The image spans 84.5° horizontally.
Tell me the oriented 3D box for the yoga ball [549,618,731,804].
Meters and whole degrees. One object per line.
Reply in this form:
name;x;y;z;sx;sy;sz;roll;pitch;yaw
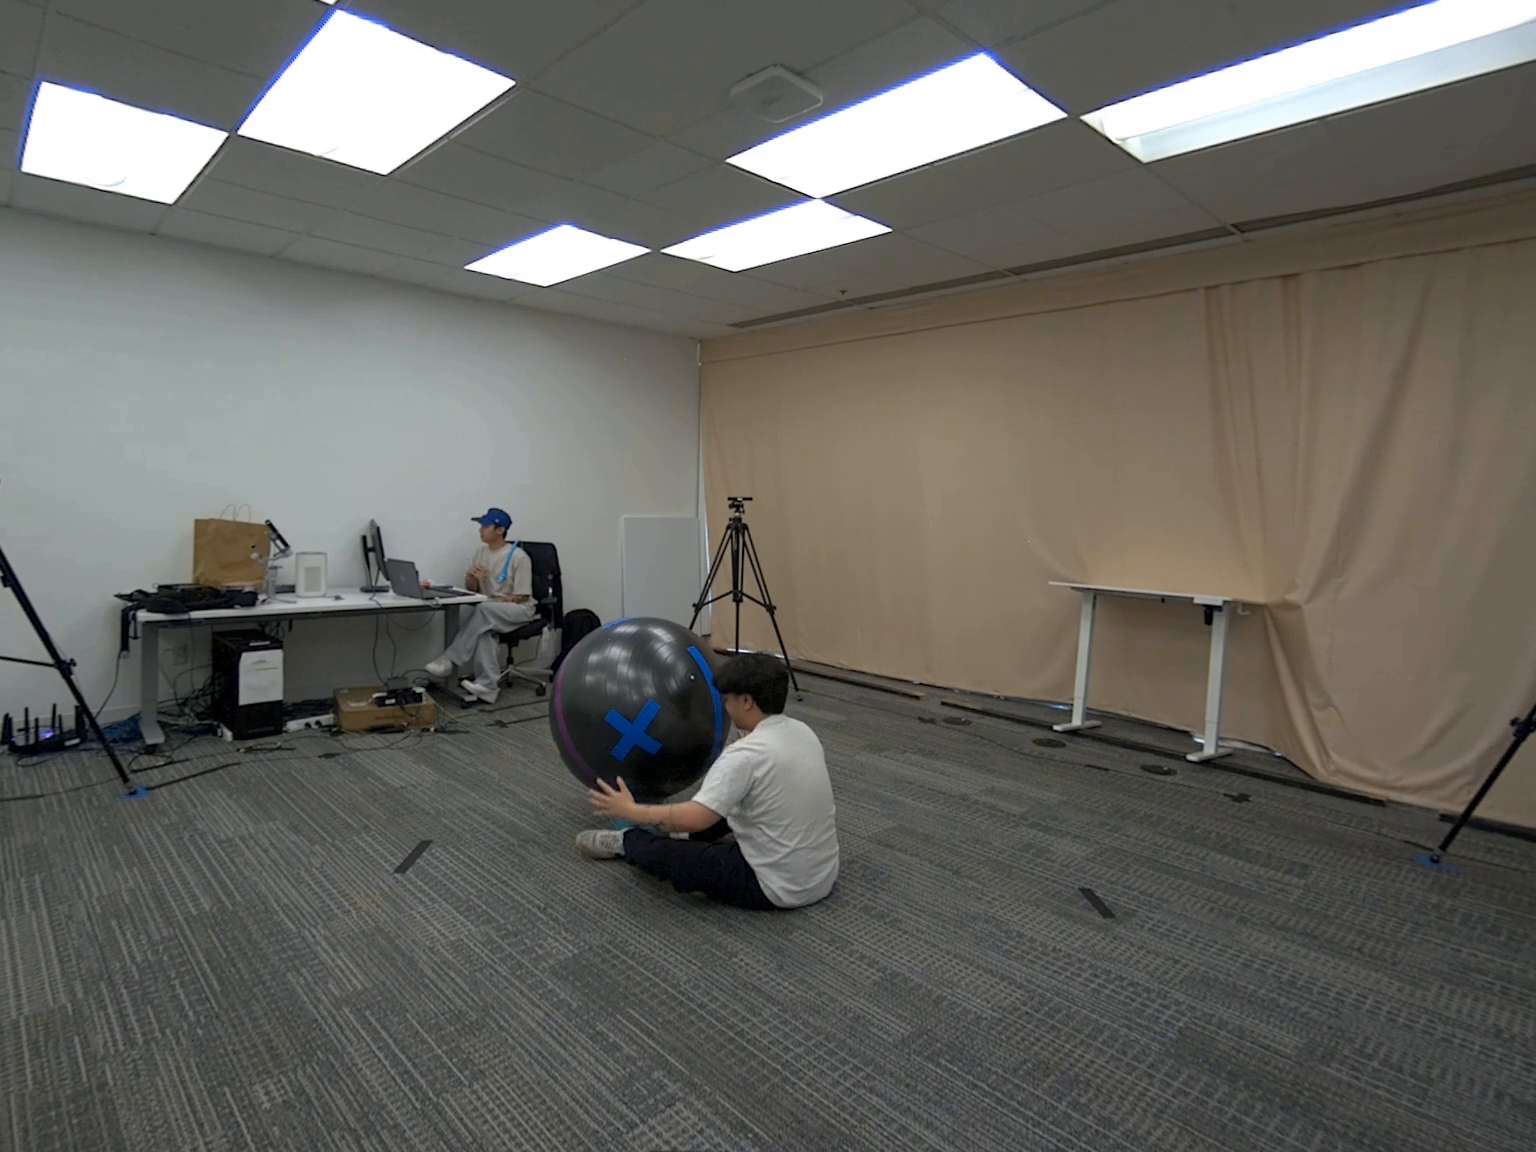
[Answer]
yoga ball;-0.533;0.551;3.516;0.757;0.756;0.760;1;4;-1
